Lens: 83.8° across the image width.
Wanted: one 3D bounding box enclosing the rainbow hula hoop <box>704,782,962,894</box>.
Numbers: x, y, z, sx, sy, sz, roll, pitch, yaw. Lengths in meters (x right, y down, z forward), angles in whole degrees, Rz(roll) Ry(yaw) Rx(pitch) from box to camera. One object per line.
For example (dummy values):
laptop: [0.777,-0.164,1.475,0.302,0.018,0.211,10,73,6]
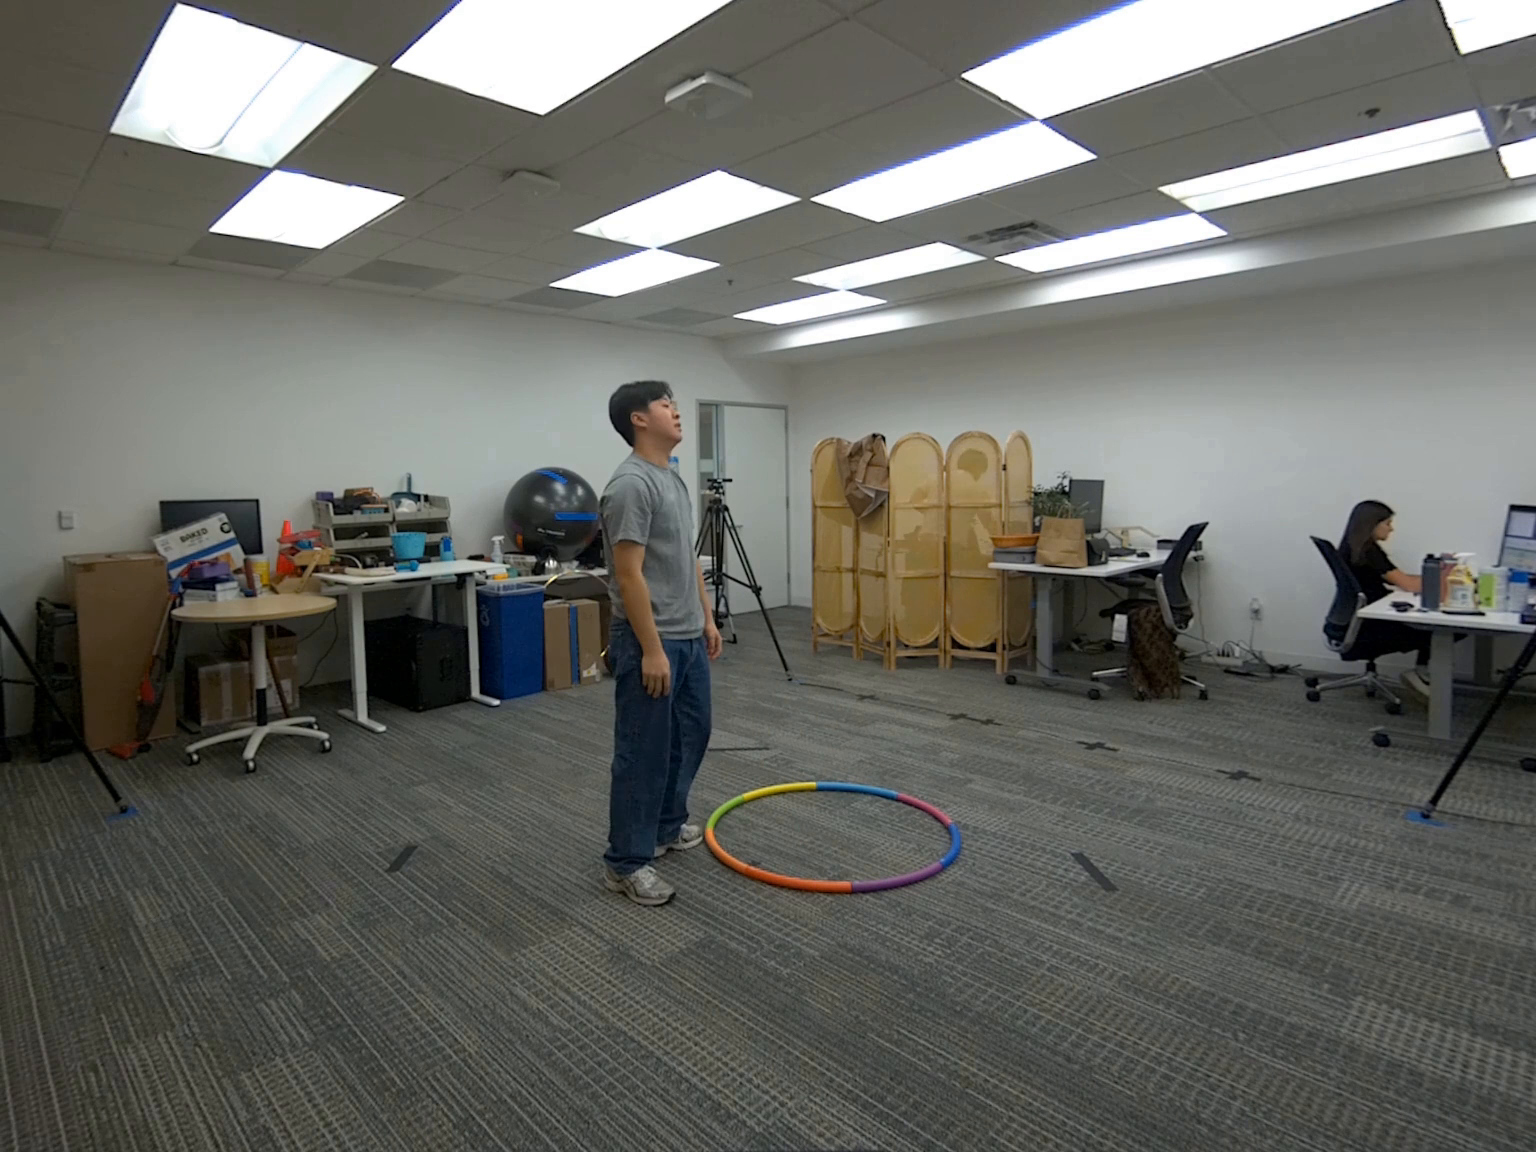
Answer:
rainbow hula hoop: [0.244,0.985,3.351,0.978,0.035,0.984,-1,6,-2]
